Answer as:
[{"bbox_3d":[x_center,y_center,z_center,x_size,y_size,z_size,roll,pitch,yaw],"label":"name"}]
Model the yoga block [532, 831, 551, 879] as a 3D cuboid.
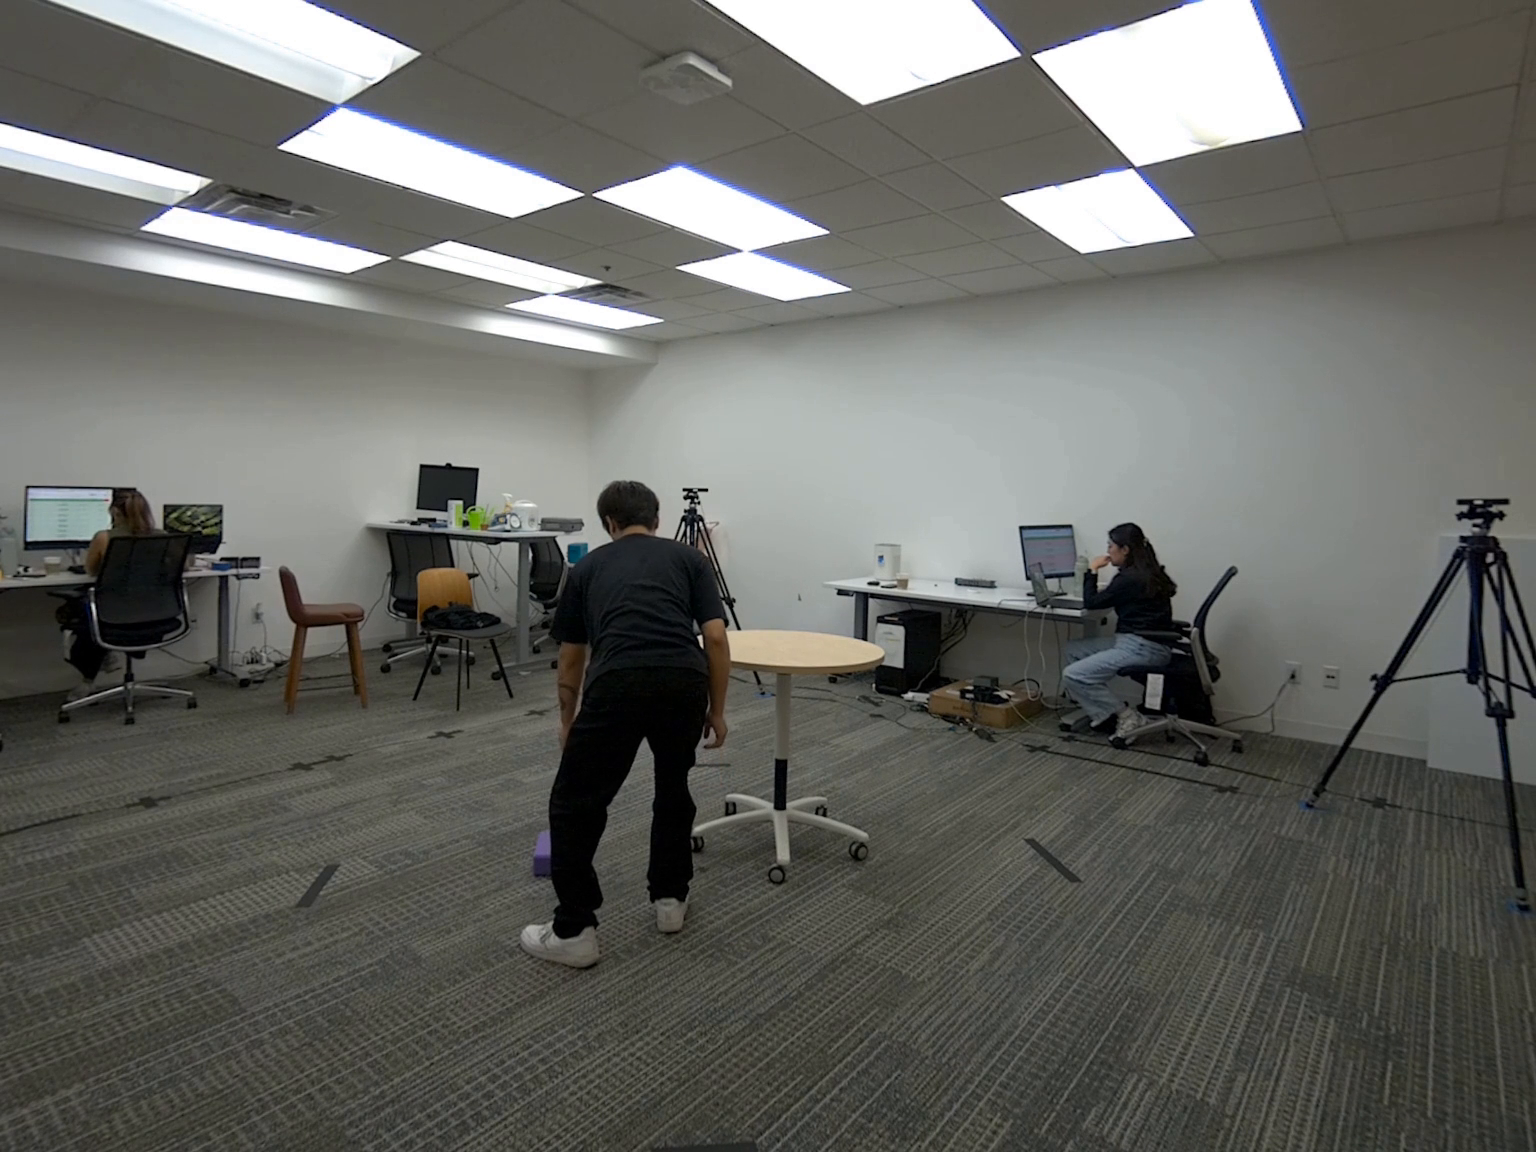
[{"bbox_3d":[-0.791,1.016,3.137,0.148,0.076,0.232,1,6,-8],"label":"yoga block"}]
